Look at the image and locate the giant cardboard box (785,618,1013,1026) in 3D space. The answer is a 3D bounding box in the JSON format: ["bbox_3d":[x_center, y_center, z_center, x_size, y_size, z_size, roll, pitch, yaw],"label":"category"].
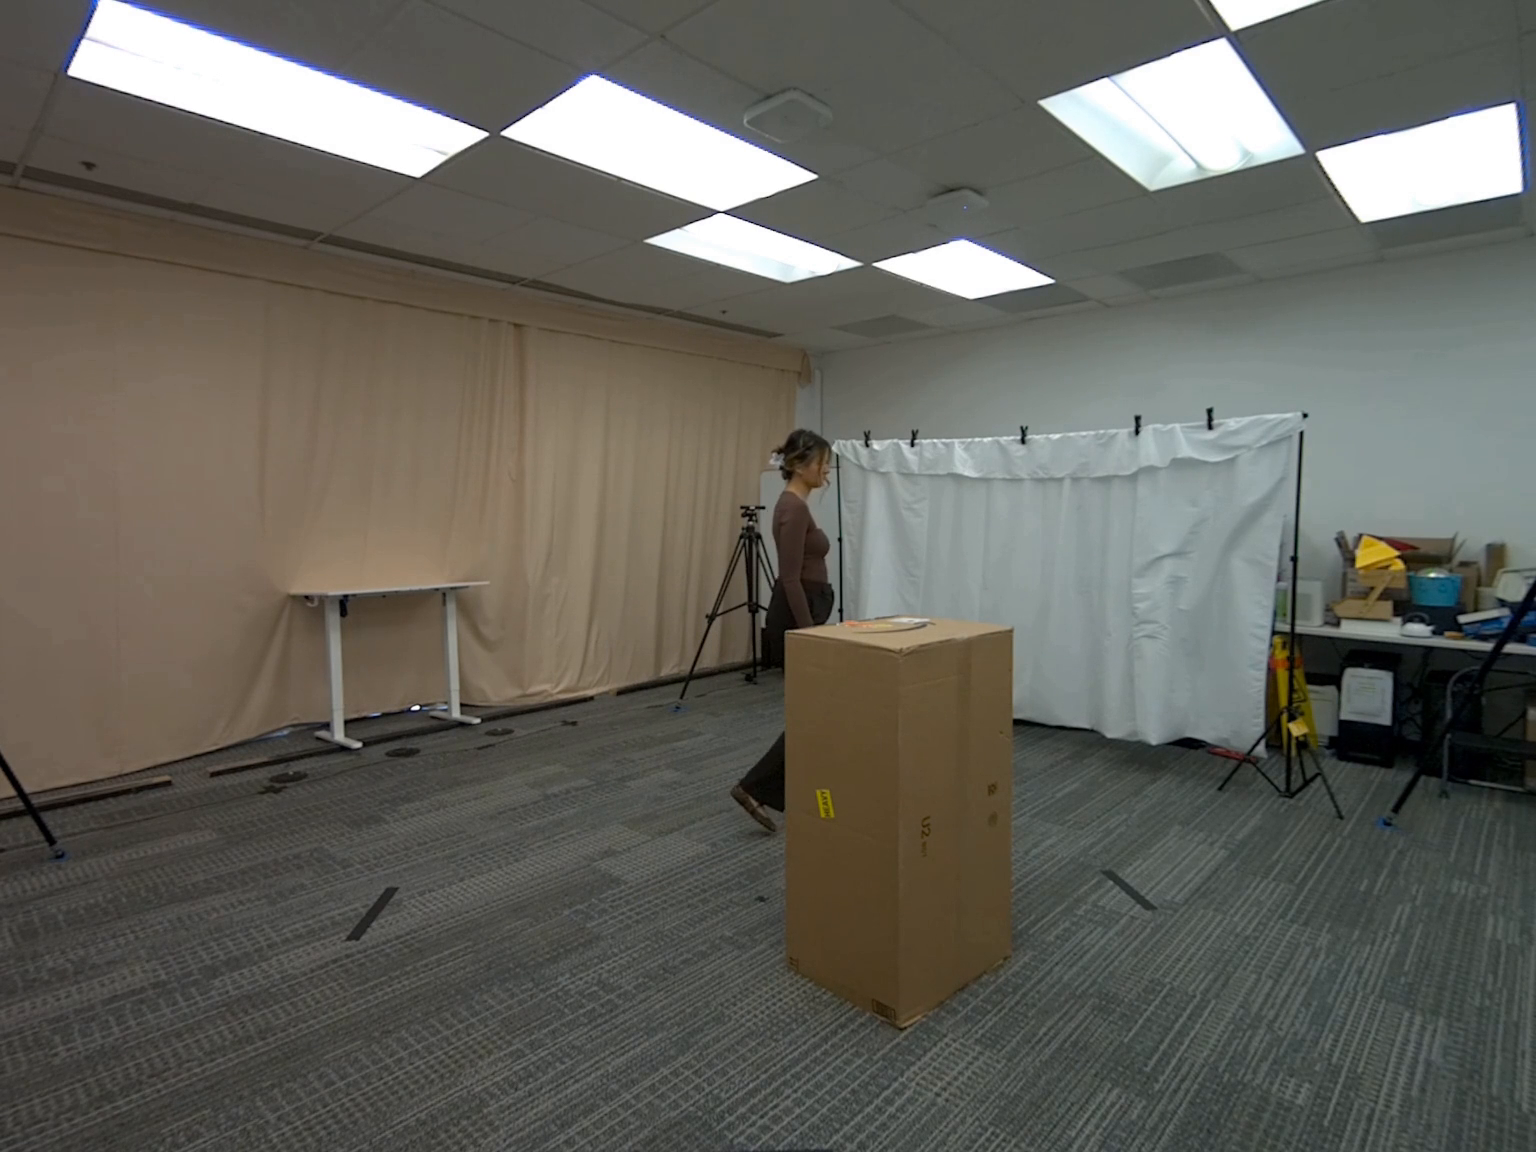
[{"bbox_3d":[0.407,0.669,2.552,0.566,1.025,0.461,-3,3,-41],"label":"giant cardboard box"}]
